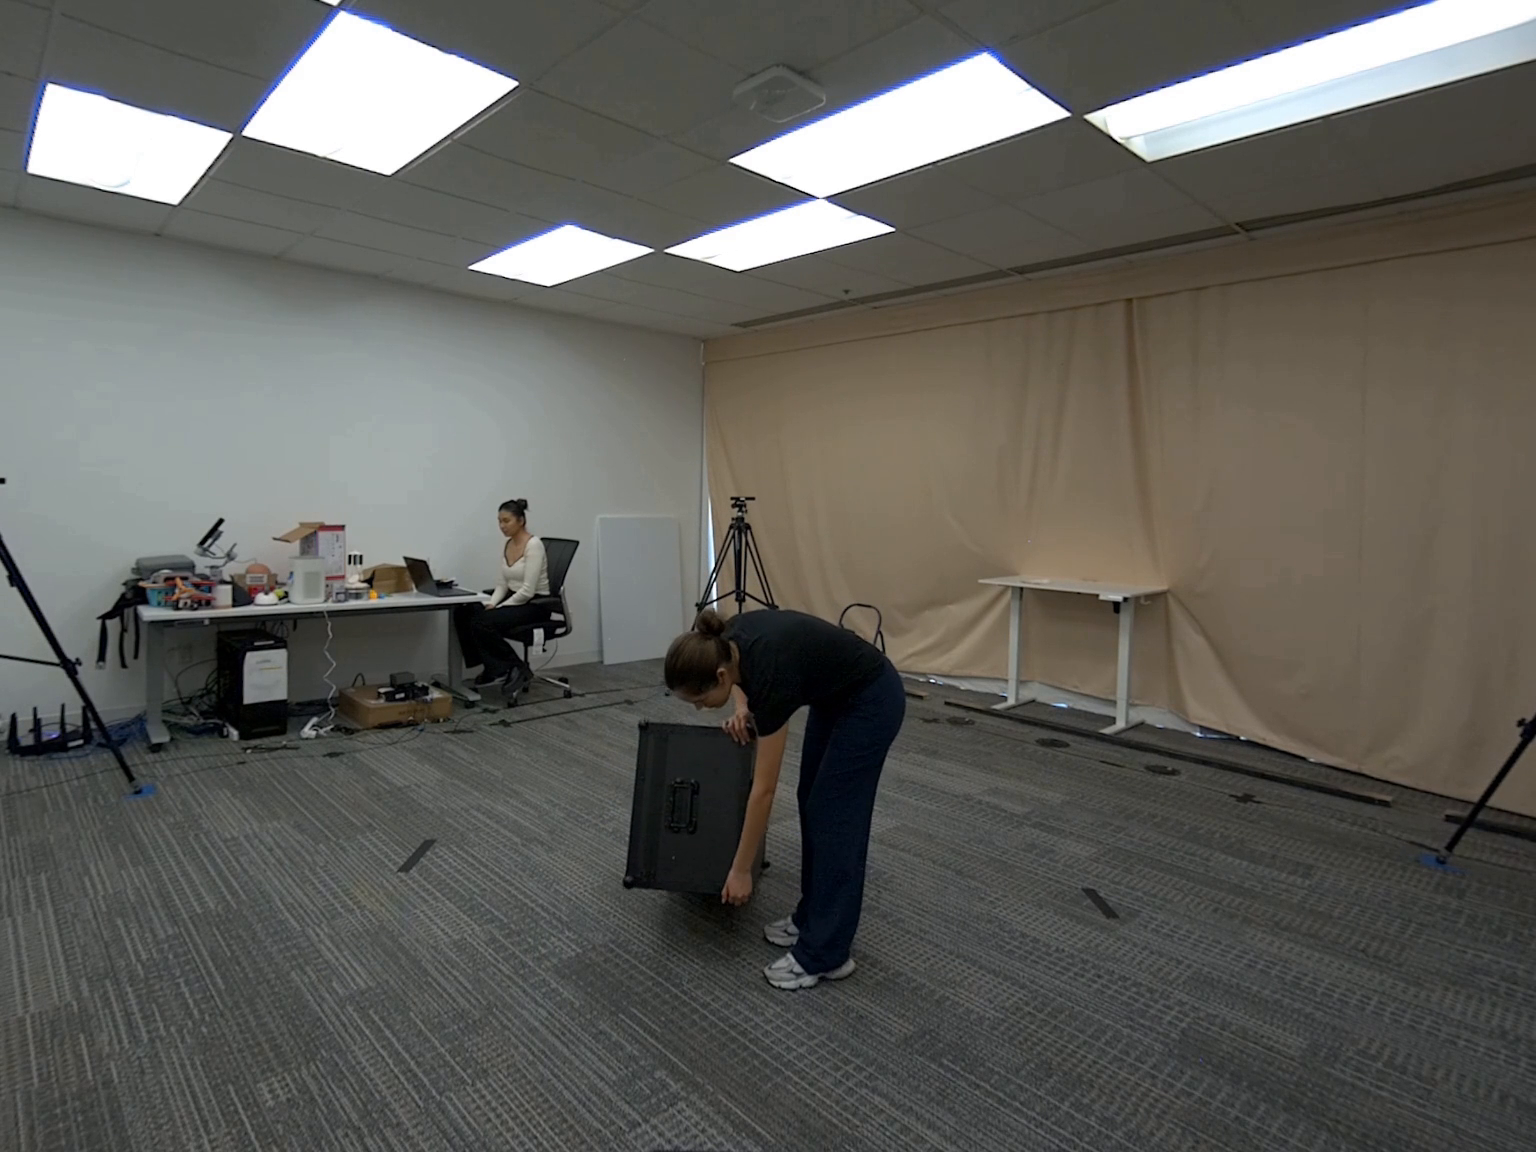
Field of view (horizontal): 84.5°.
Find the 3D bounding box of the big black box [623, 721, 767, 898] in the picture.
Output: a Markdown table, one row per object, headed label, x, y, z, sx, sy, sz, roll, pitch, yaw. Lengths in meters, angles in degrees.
| label | x | y | z | sx | sy | sz | roll | pitch | yaw |
| --- | --- | --- | --- | --- | --- | --- | --- | --- | --- |
| big black box | -0.193 | 0.780 | 2.905 | 0.398 | 0.526 | 0.850 | 4 | -13 | 3 |
